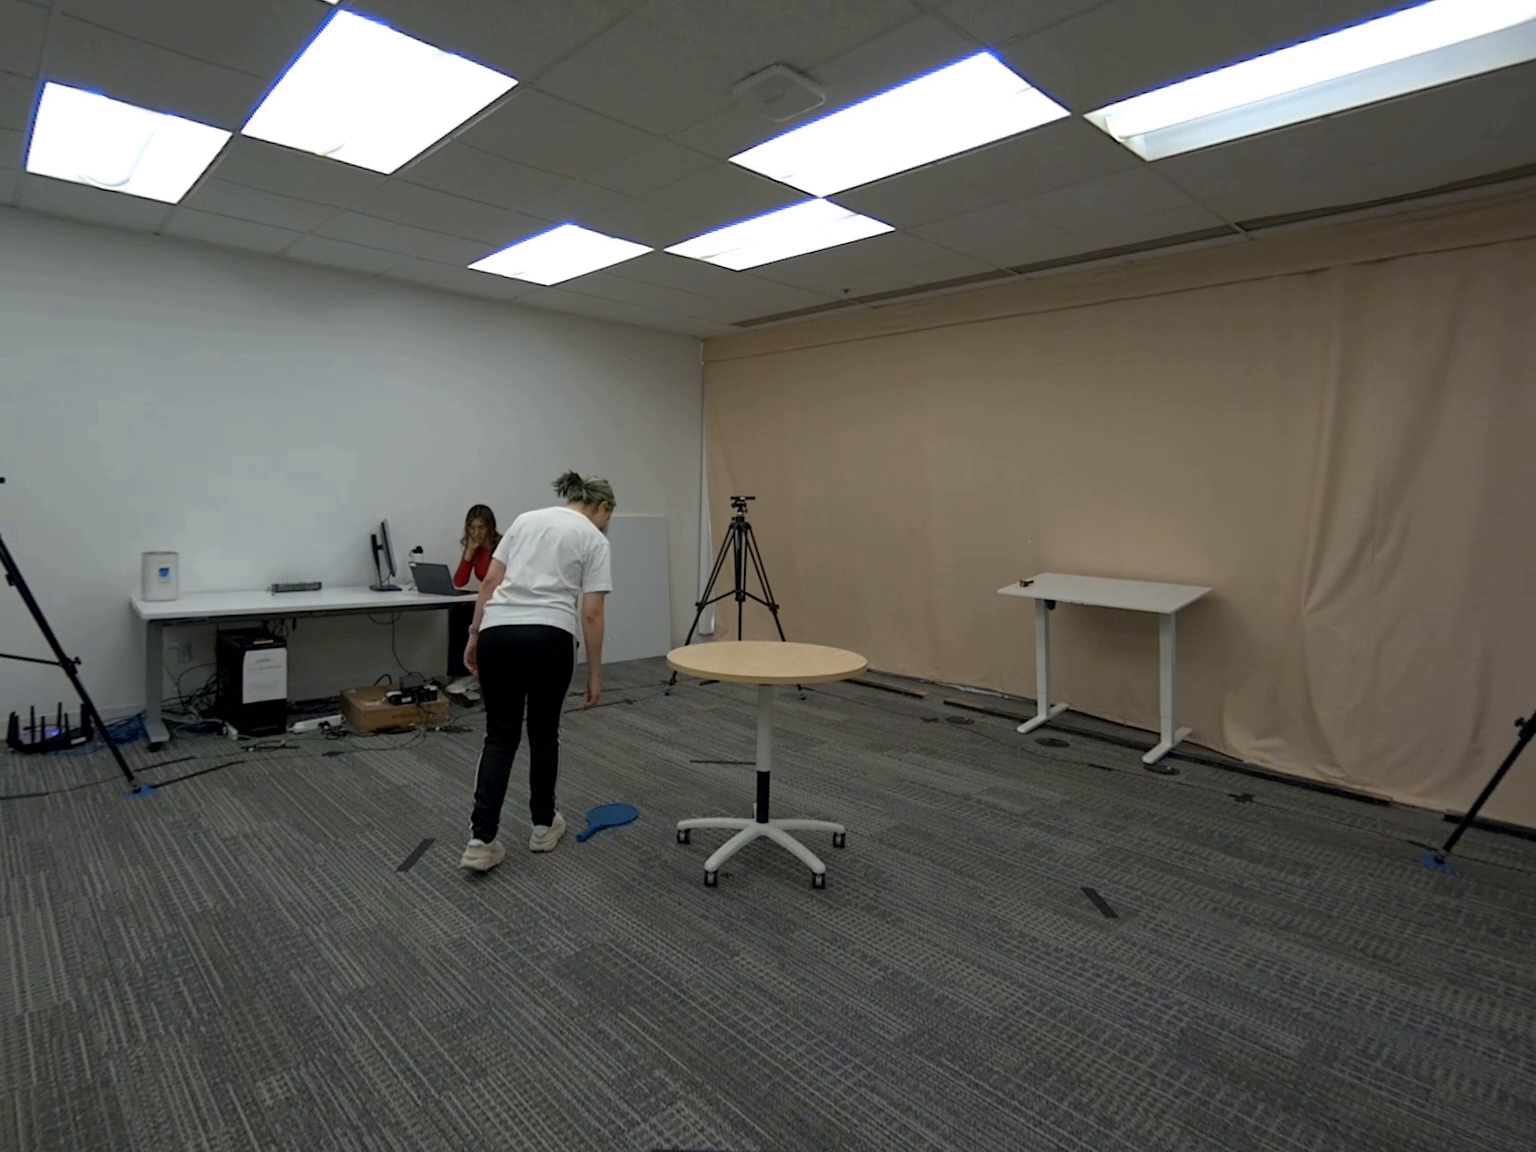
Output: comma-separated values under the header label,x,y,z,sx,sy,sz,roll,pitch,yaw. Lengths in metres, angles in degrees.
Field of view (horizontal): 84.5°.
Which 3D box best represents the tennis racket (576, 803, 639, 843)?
label,x,y,z,sx,sy,sz,roll,pitch,yaw
tennis racket,-0.703,1.036,3.572,0.216,0.032,0.428,3,4,15
